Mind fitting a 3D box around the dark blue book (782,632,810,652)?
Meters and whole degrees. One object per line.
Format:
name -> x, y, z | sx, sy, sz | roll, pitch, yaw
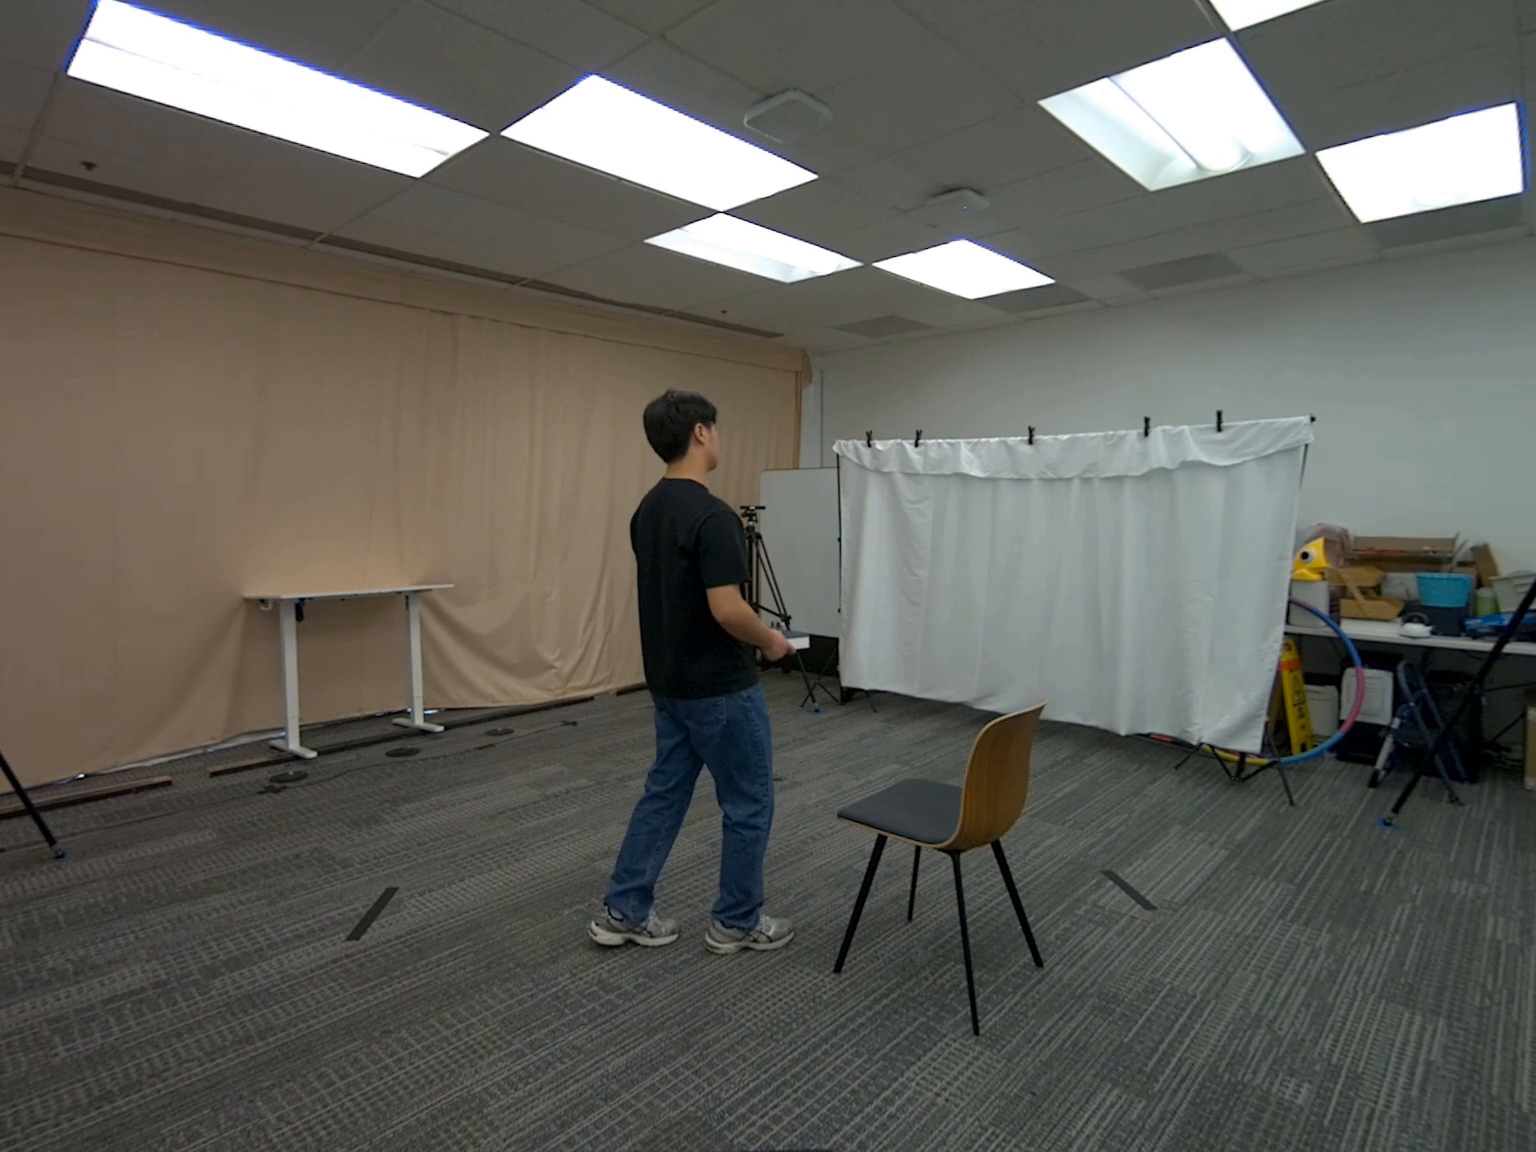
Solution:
dark blue book -> 0.012, 0.215, 2.816 | 0.160, 0.045, 0.250 | -3, 6, -18
